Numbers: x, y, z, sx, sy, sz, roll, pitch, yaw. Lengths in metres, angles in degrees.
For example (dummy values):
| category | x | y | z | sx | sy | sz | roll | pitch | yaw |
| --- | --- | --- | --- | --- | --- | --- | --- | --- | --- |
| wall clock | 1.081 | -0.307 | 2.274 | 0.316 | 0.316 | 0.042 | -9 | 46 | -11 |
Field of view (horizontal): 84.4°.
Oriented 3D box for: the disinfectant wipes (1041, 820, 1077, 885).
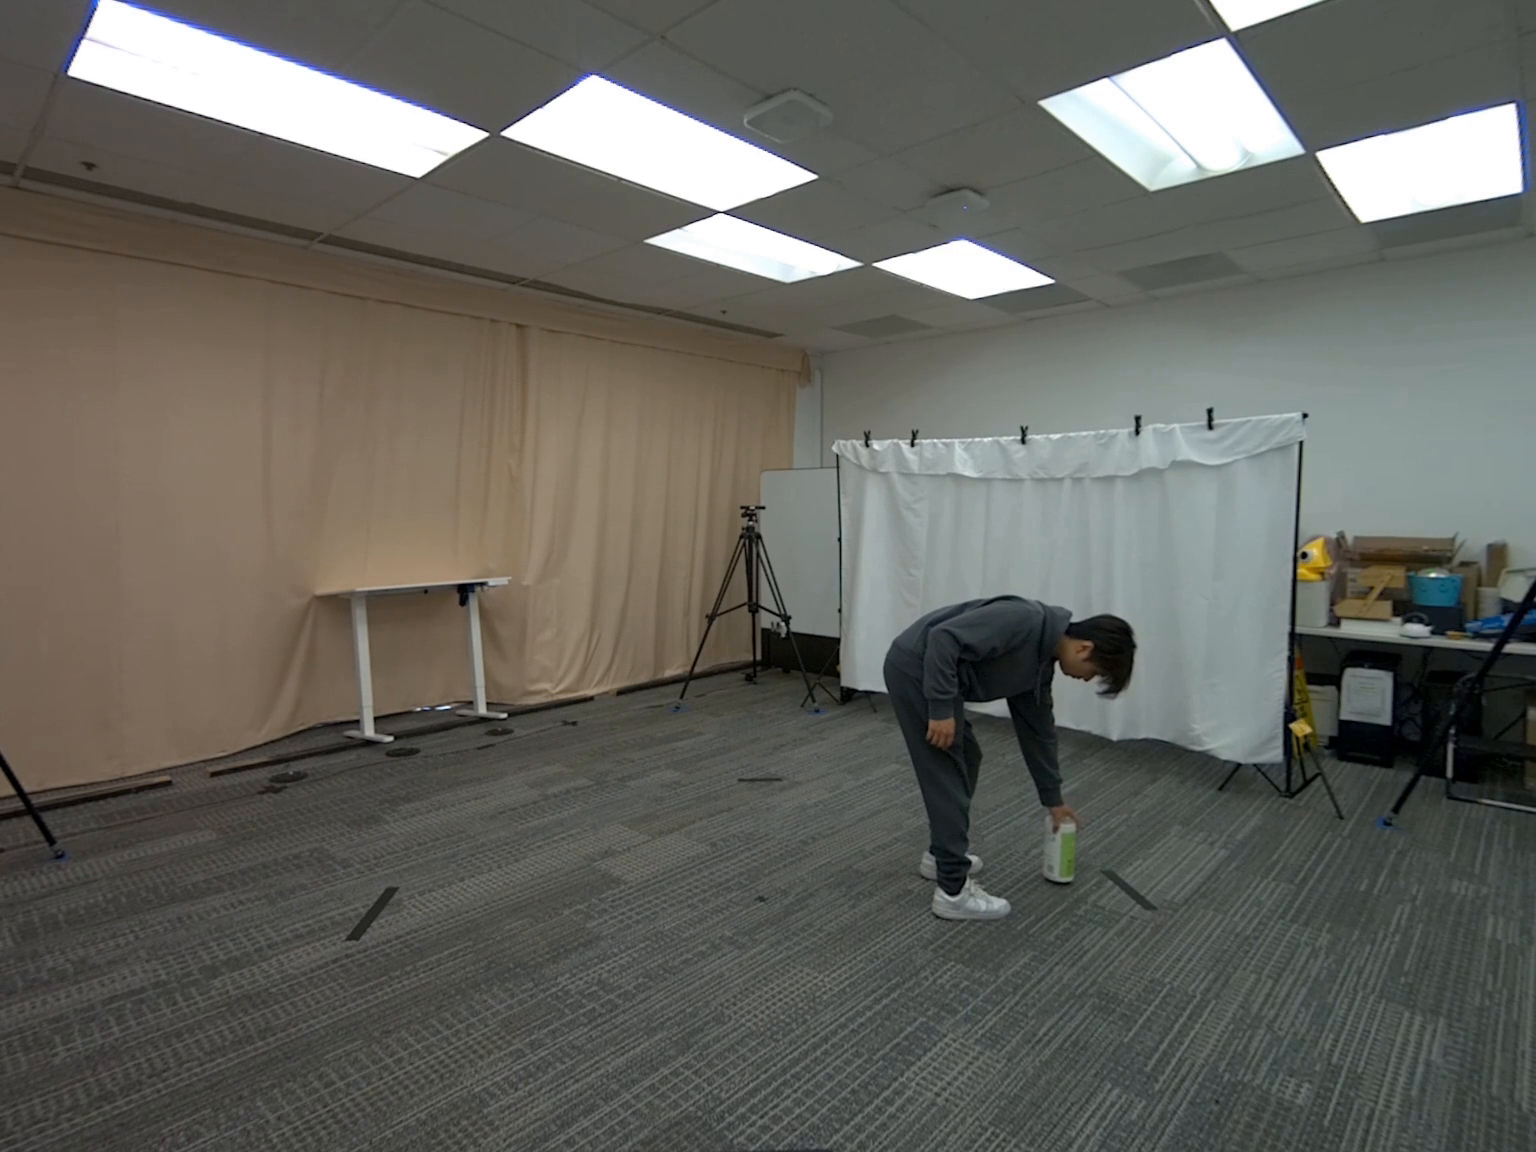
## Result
| category | x | y | z | sx | sy | sz | roll | pitch | yaw |
| --- | --- | --- | --- | --- | --- | --- | --- | --- | --- |
| disinfectant wipes | 1.087 | 1.019 | 3.109 | 0.117 | 0.216 | 0.118 | 2 | 7 | -2 |
